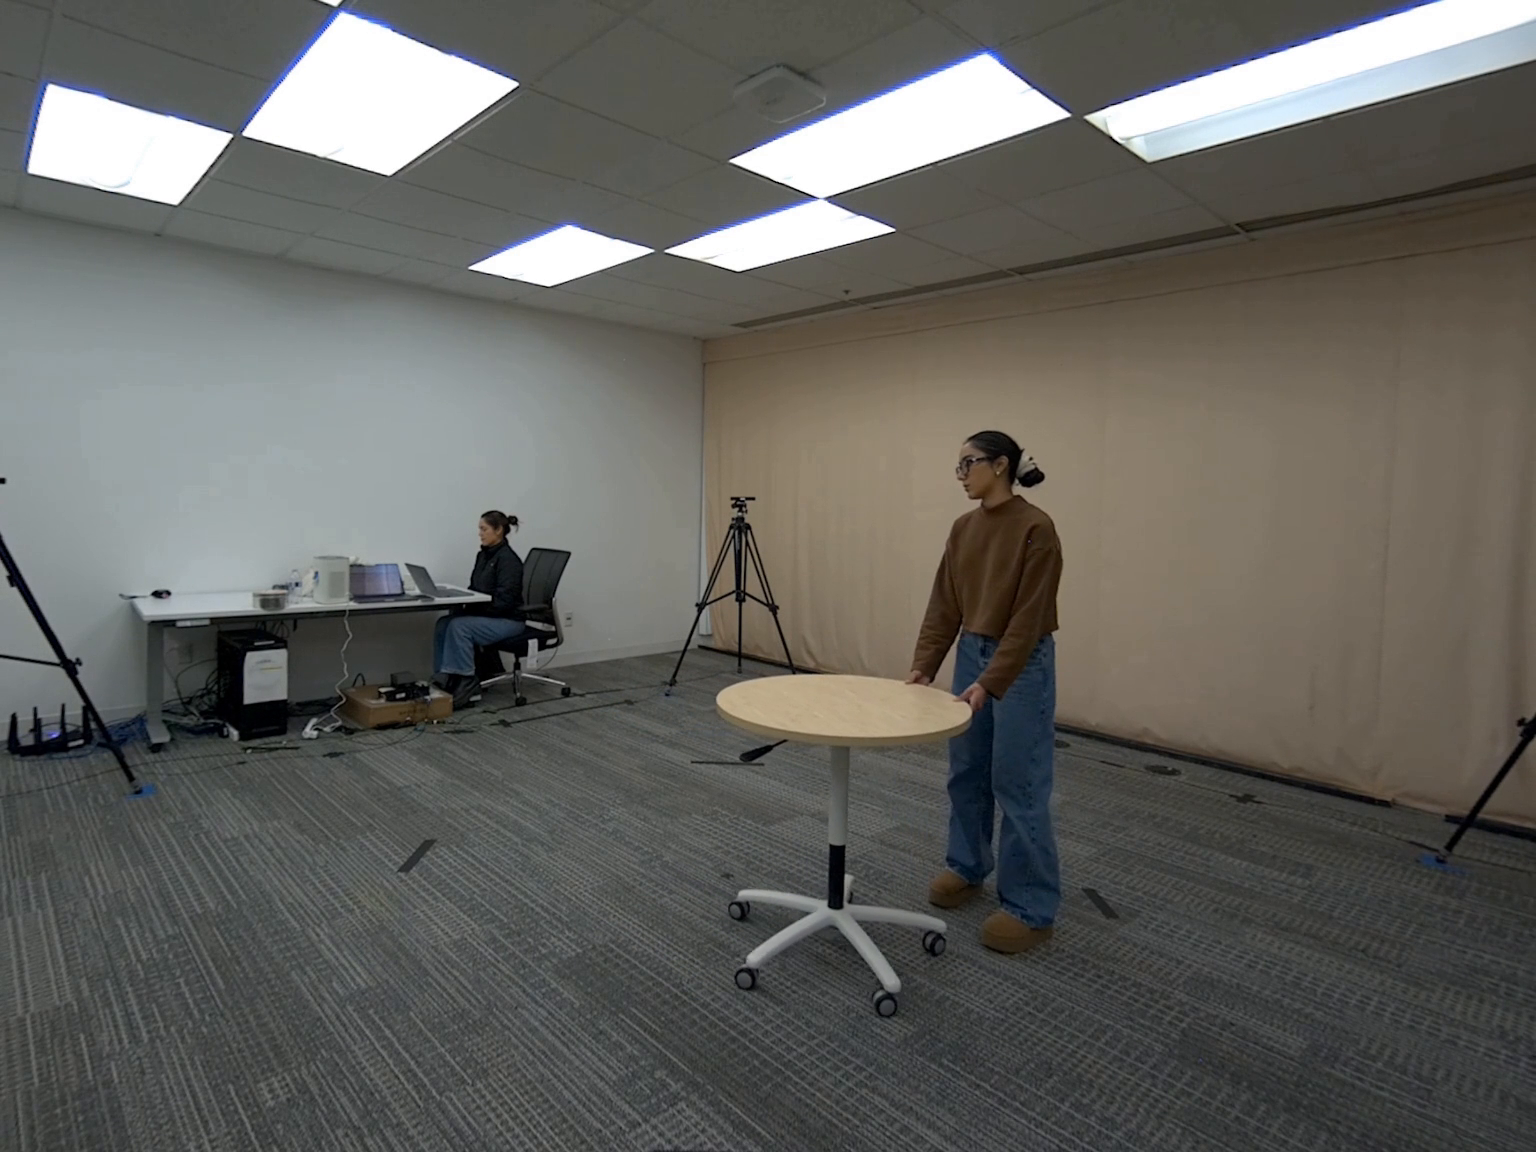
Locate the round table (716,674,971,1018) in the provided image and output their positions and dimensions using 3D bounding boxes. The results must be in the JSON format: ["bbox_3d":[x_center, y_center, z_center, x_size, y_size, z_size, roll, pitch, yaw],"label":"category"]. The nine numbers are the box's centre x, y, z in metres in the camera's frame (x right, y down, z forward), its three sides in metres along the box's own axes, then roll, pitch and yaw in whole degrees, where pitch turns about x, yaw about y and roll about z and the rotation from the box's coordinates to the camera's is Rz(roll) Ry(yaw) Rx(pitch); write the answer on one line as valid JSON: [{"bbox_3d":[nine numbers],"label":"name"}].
[{"bbox_3d":[0.209,0.775,2.583,0.763,0.791,0.767,1,4,-1],"label":"round table"}]
